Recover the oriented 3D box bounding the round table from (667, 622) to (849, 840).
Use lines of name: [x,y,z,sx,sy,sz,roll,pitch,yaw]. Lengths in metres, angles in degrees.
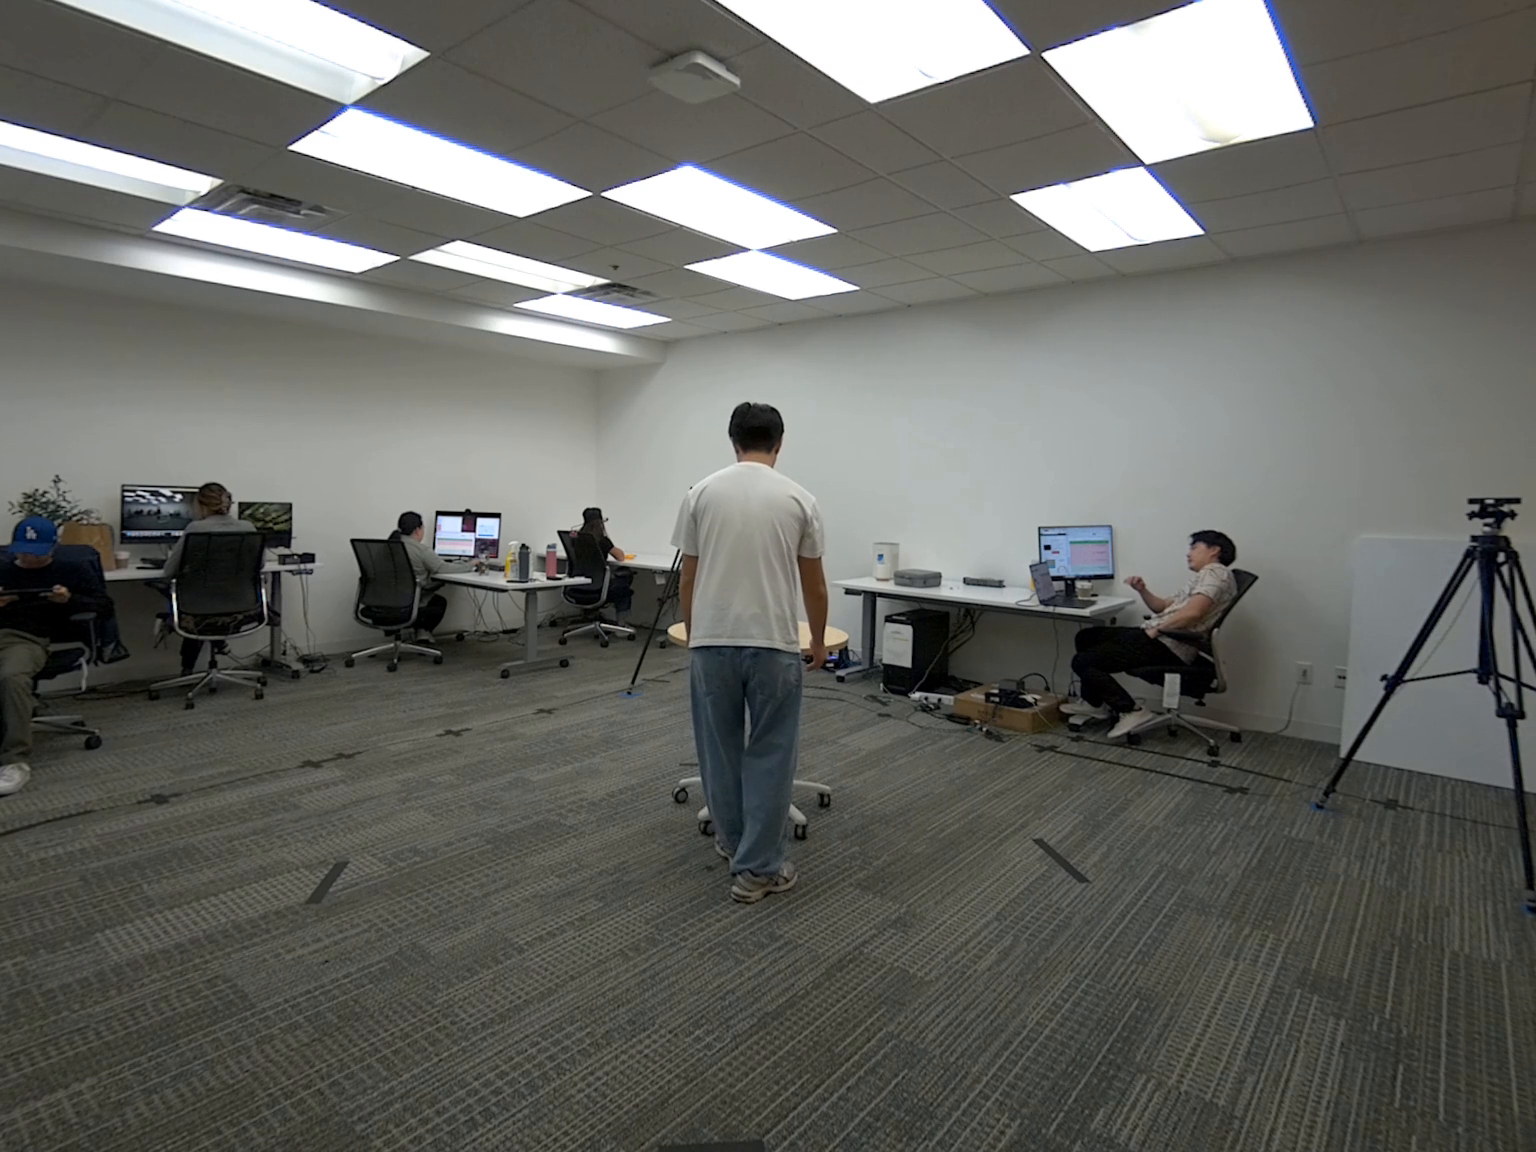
round table: [-0.066,0.625,3.639,0.763,0.791,0.768,1,4,-2]
